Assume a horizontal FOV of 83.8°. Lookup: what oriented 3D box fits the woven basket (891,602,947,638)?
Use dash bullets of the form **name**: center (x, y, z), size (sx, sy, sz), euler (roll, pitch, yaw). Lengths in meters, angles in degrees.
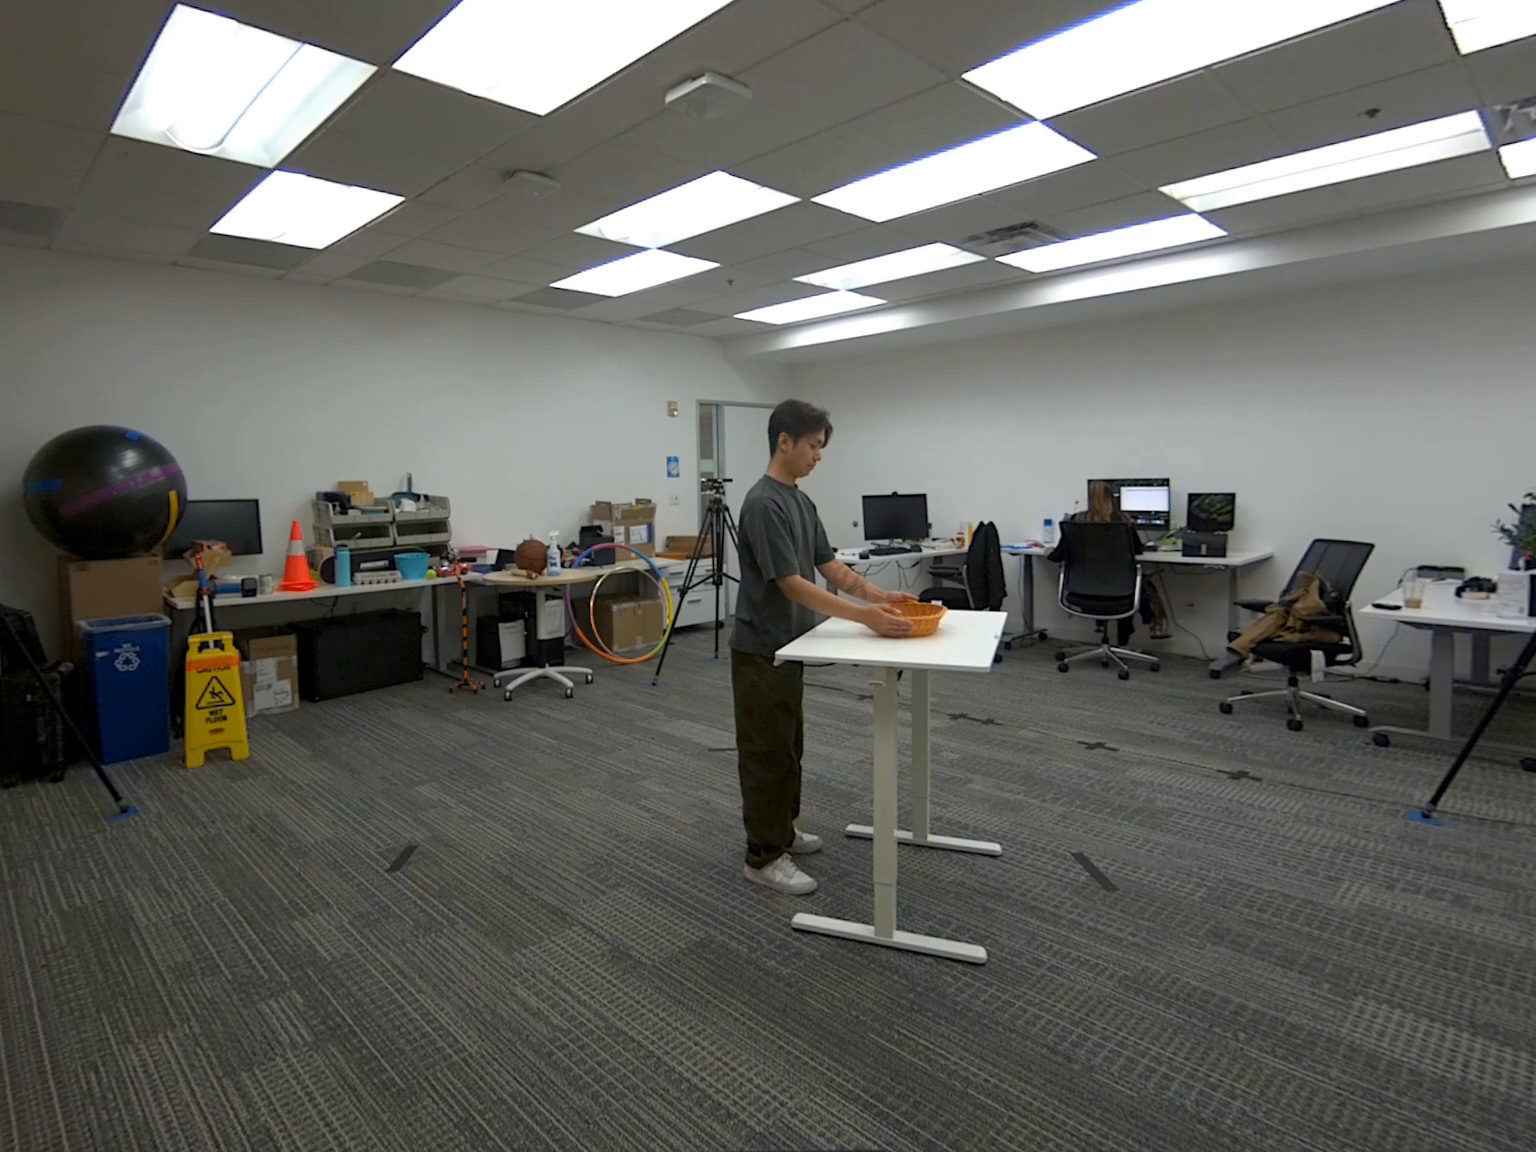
- **woven basket**: center (0.450, 0.146, 2.850), size (0.259, 0.073, 0.343), euler (4, 7, 26)
